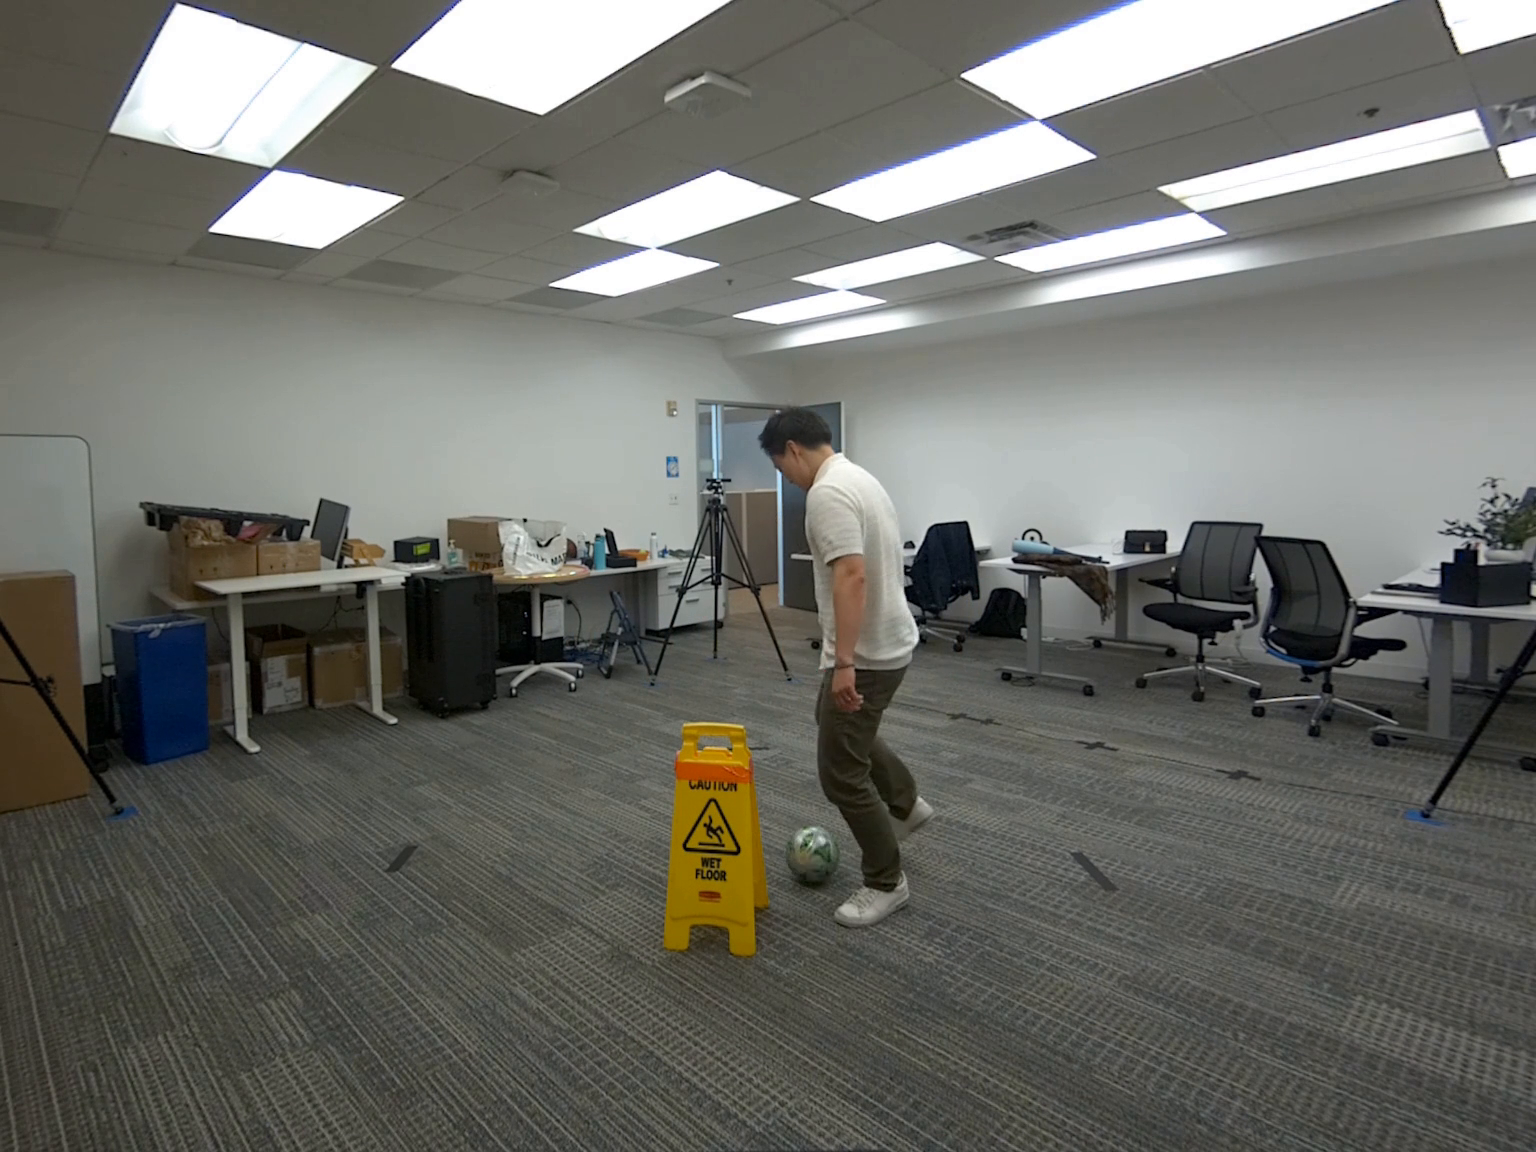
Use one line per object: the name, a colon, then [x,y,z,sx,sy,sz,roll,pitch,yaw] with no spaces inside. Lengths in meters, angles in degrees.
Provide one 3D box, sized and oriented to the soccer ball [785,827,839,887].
soccer ball: [0.158,0.965,2.953,0.187,0.187,0.188,-1,5,-2]
